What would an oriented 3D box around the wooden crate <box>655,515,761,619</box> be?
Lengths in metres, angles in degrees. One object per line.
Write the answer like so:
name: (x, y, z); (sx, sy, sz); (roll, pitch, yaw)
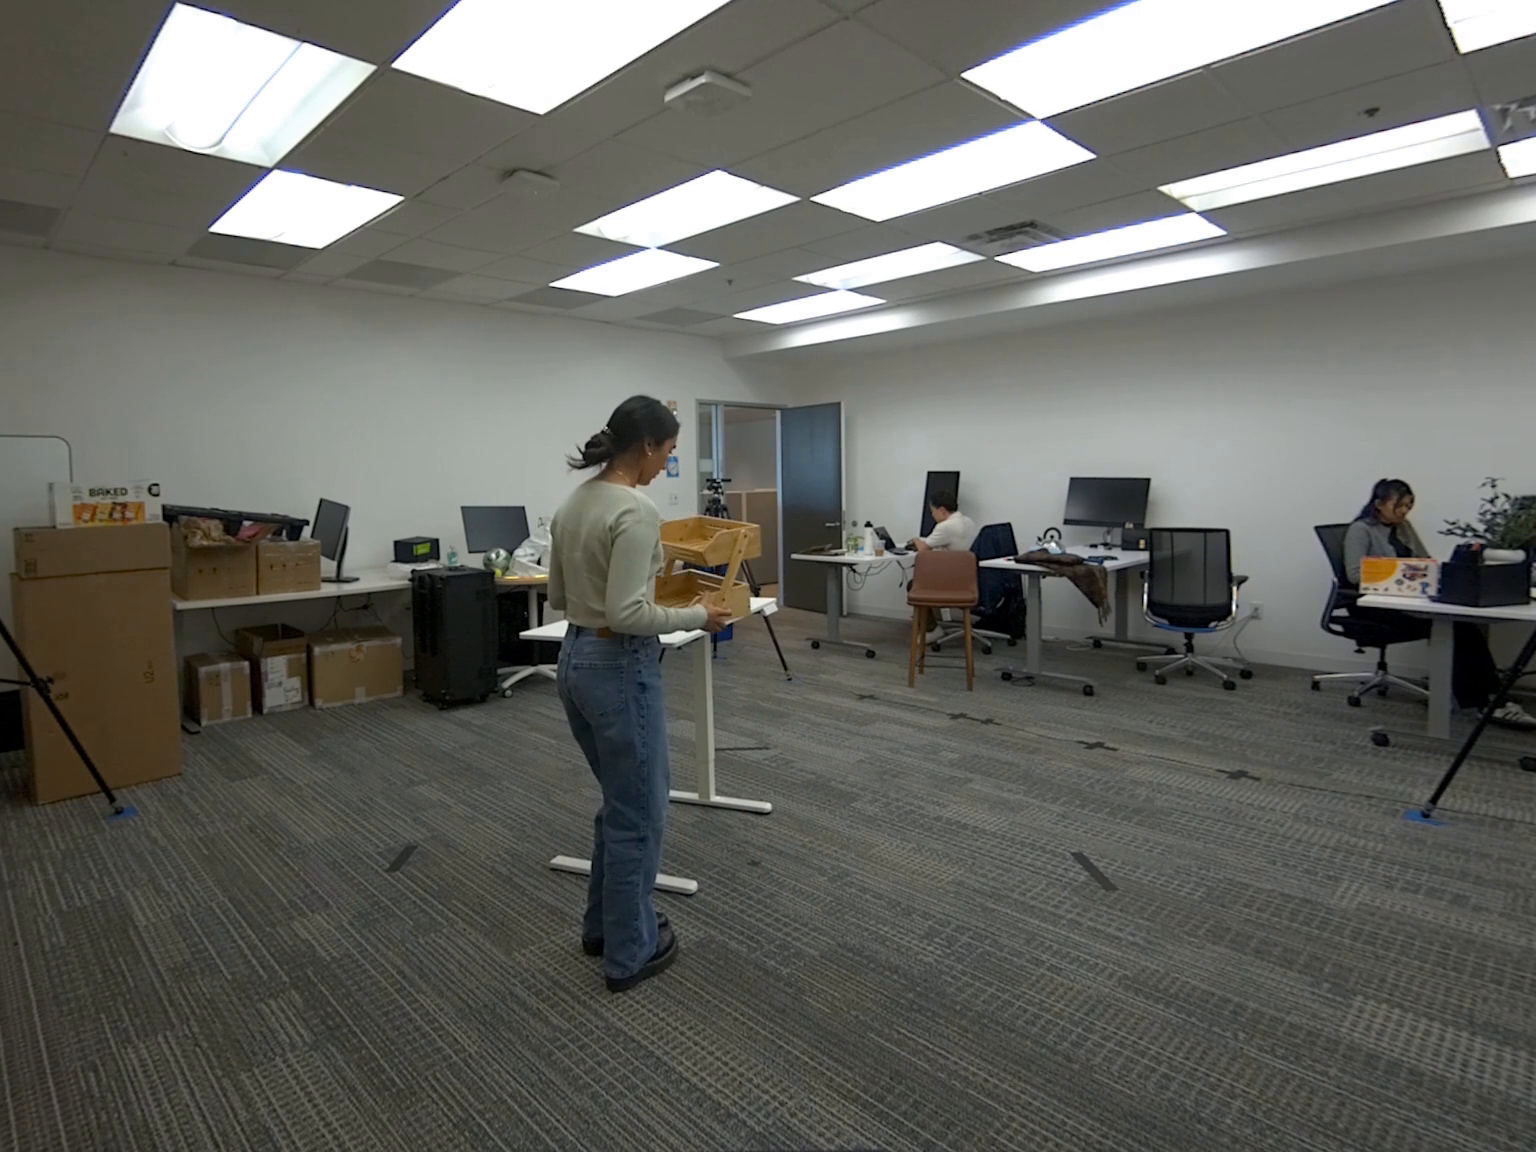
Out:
wooden crate: (-0.231, -0.021, 2.546); (0.295, 0.270, 0.335); (-12, 15, -37)
